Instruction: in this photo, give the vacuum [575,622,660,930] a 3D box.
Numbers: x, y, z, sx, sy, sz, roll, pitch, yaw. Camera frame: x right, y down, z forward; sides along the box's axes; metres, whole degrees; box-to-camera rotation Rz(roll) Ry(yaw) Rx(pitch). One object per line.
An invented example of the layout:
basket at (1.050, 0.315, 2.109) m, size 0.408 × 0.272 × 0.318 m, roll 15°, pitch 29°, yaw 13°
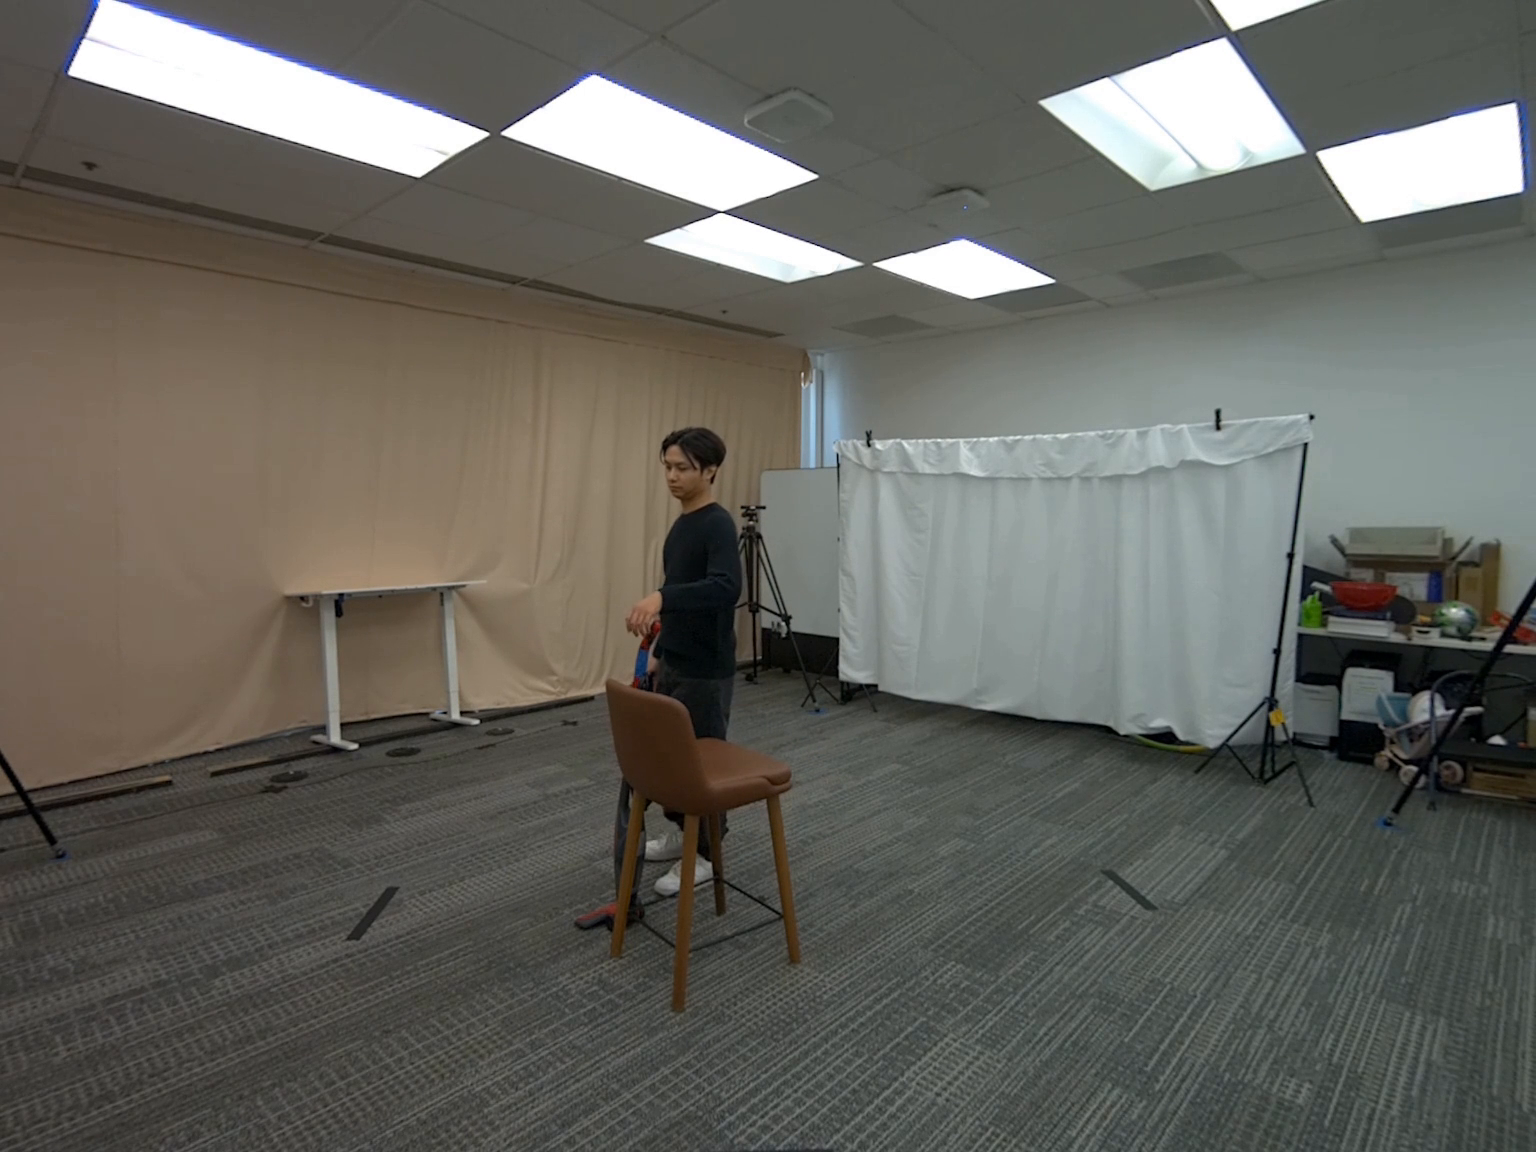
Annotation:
vacuum at (-0.428, 0.655, 2.732) m, size 0.149 × 1.044 × 0.245 m, roll 19°, pitch 14°, yaw 40°
